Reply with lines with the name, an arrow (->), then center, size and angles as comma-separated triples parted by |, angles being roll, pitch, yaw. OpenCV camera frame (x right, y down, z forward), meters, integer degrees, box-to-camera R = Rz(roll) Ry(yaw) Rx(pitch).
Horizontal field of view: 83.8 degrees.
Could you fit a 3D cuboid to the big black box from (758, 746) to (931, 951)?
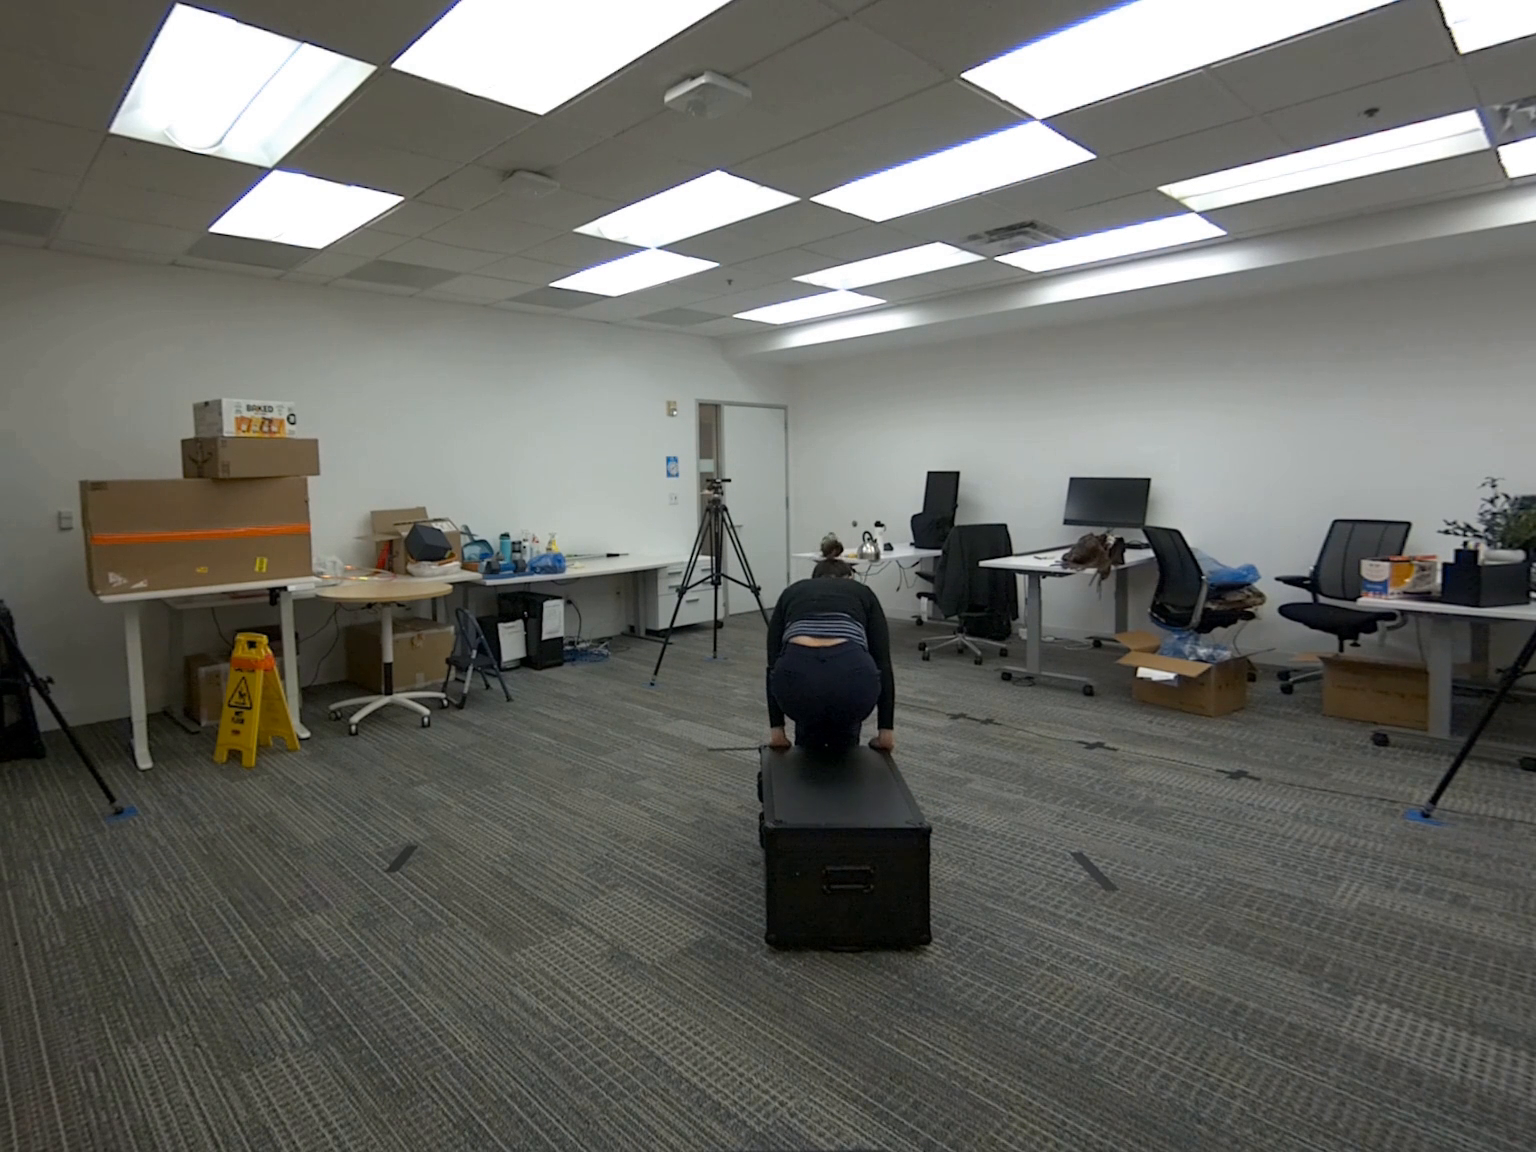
big black box -> 0.226, 0.870, 2.908 | 0.522, 0.394, 0.865 | -1, 6, 0
